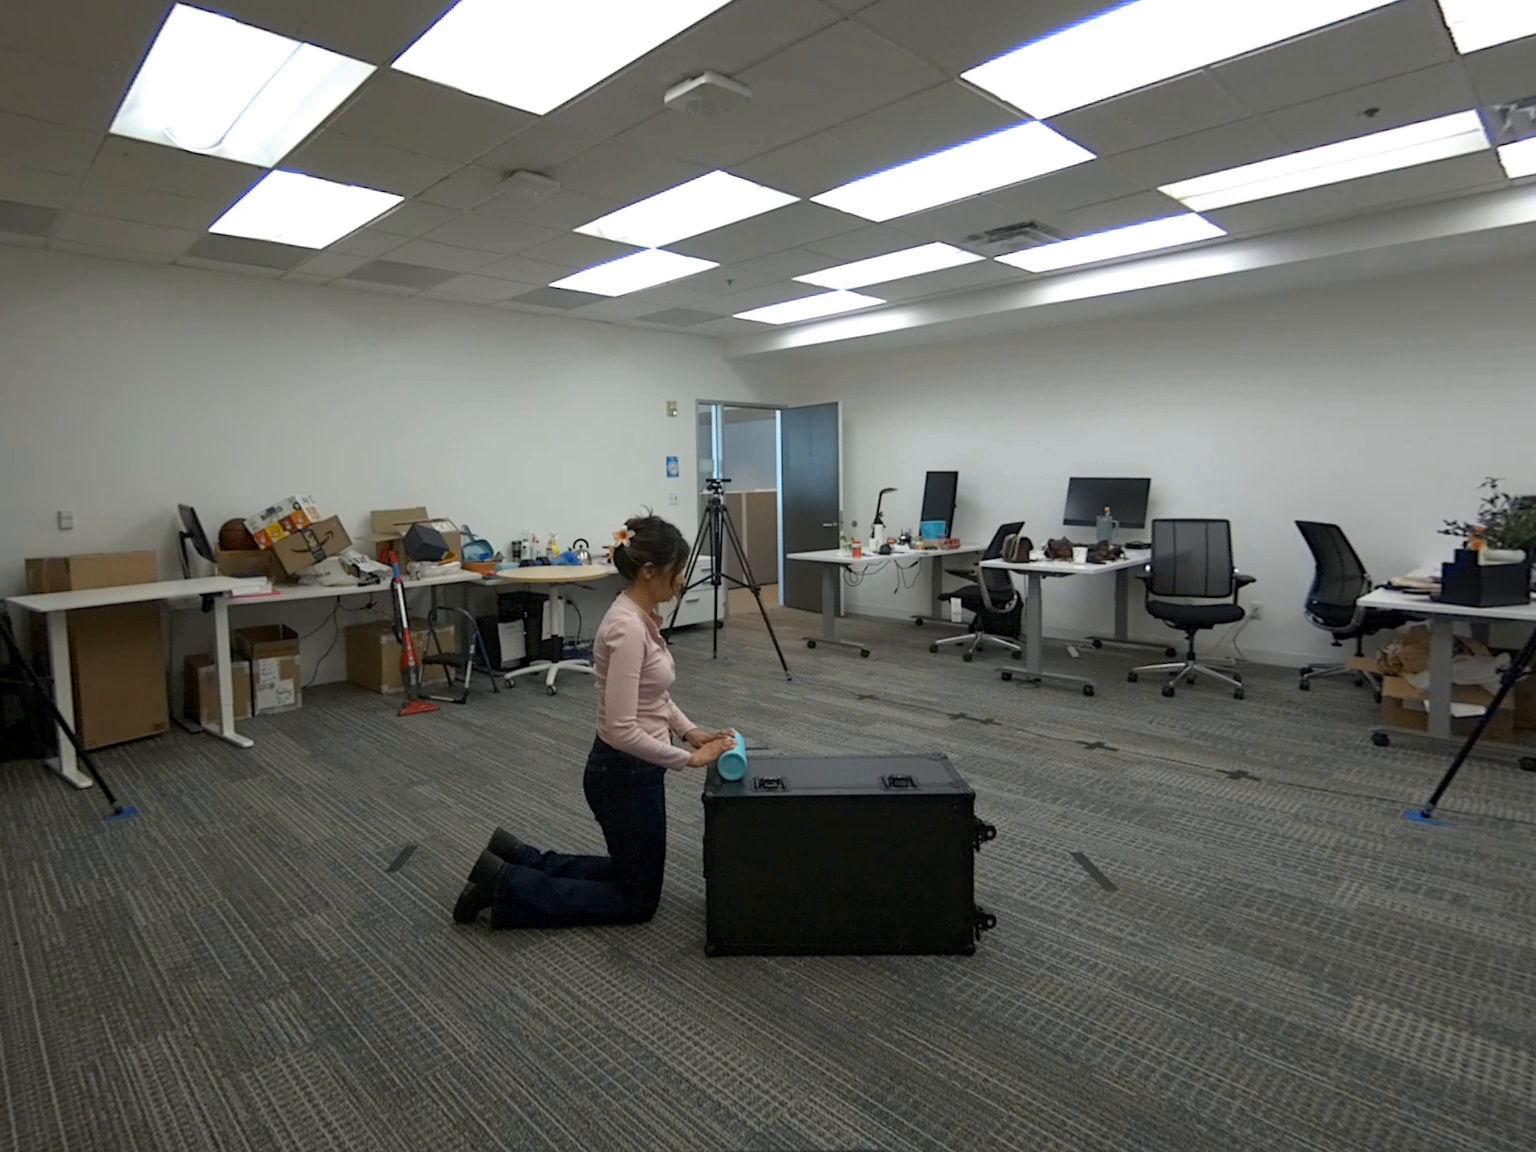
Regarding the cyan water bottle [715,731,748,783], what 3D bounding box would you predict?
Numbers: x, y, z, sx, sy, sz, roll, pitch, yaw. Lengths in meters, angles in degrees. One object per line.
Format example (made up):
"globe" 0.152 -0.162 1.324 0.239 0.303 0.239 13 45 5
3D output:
"cyan water bottle" -0.112 0.561 2.715 0.092 0.092 0.285 -1 5 -4
